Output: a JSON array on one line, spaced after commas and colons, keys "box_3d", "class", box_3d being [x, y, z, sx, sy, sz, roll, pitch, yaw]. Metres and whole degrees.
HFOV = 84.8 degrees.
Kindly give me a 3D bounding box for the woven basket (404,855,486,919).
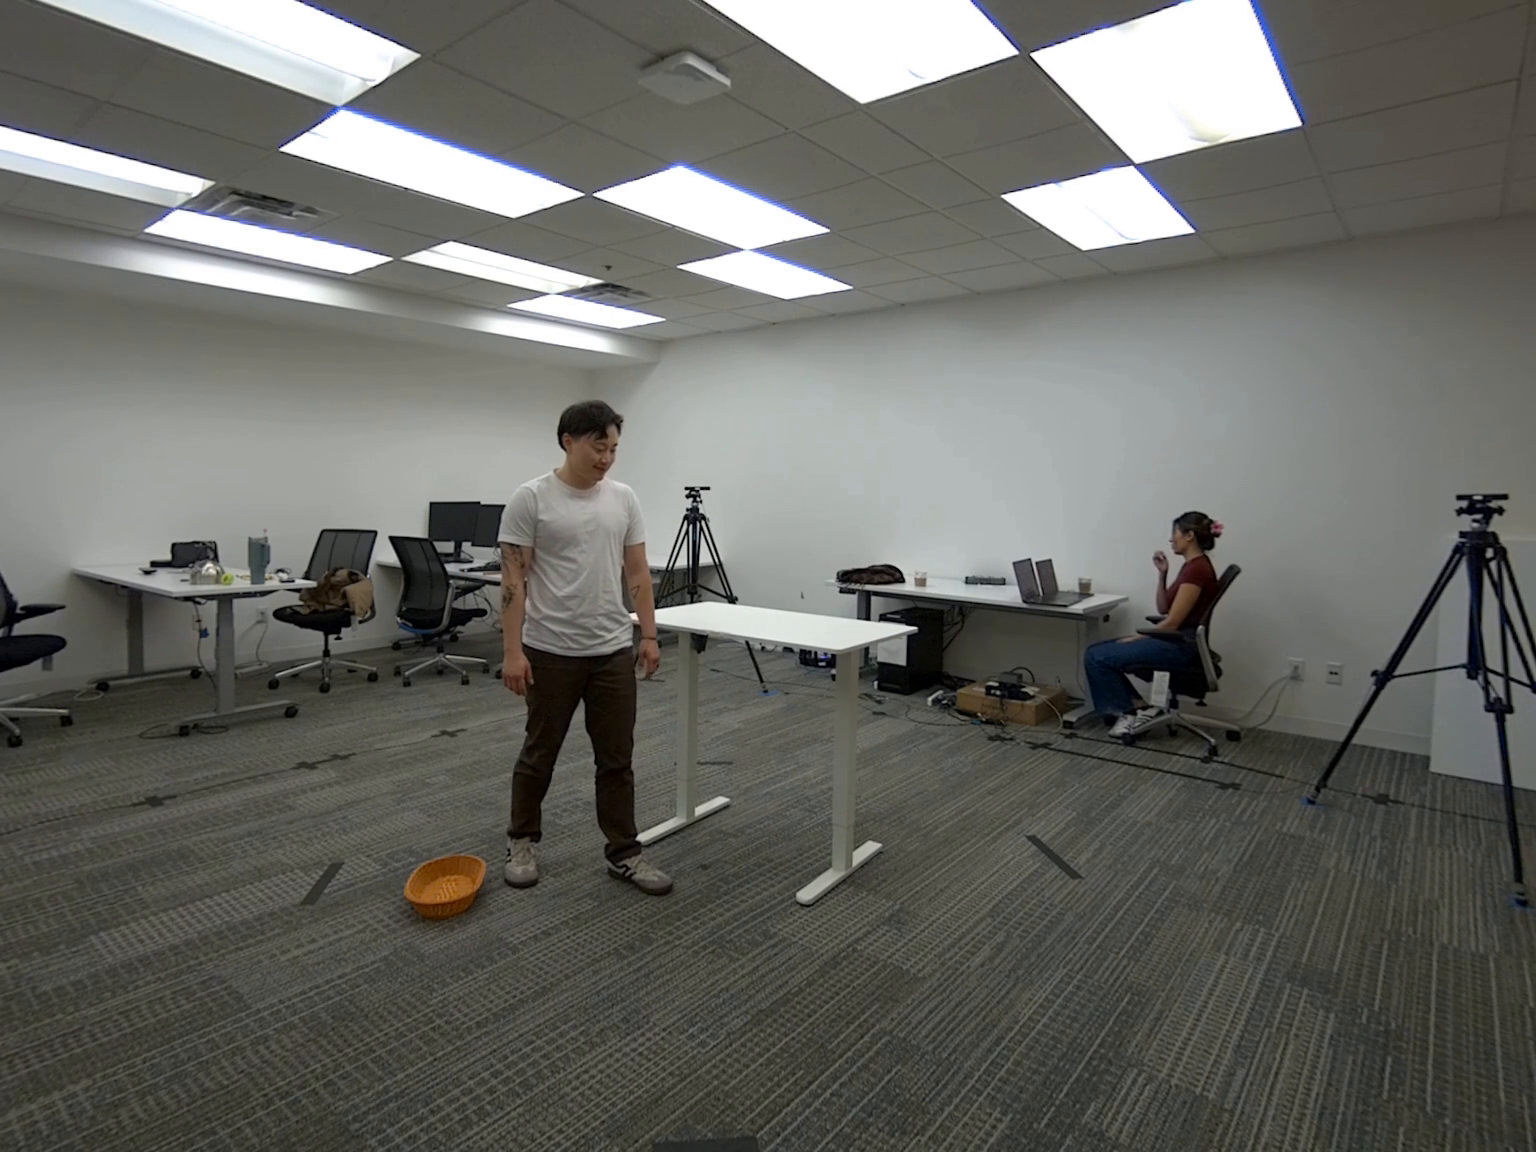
[{"box_3d": [-1.092, 1.043, 2.855, 0.251, 0.073, 0.354, -1, 6, -7], "class": "woven basket"}]
